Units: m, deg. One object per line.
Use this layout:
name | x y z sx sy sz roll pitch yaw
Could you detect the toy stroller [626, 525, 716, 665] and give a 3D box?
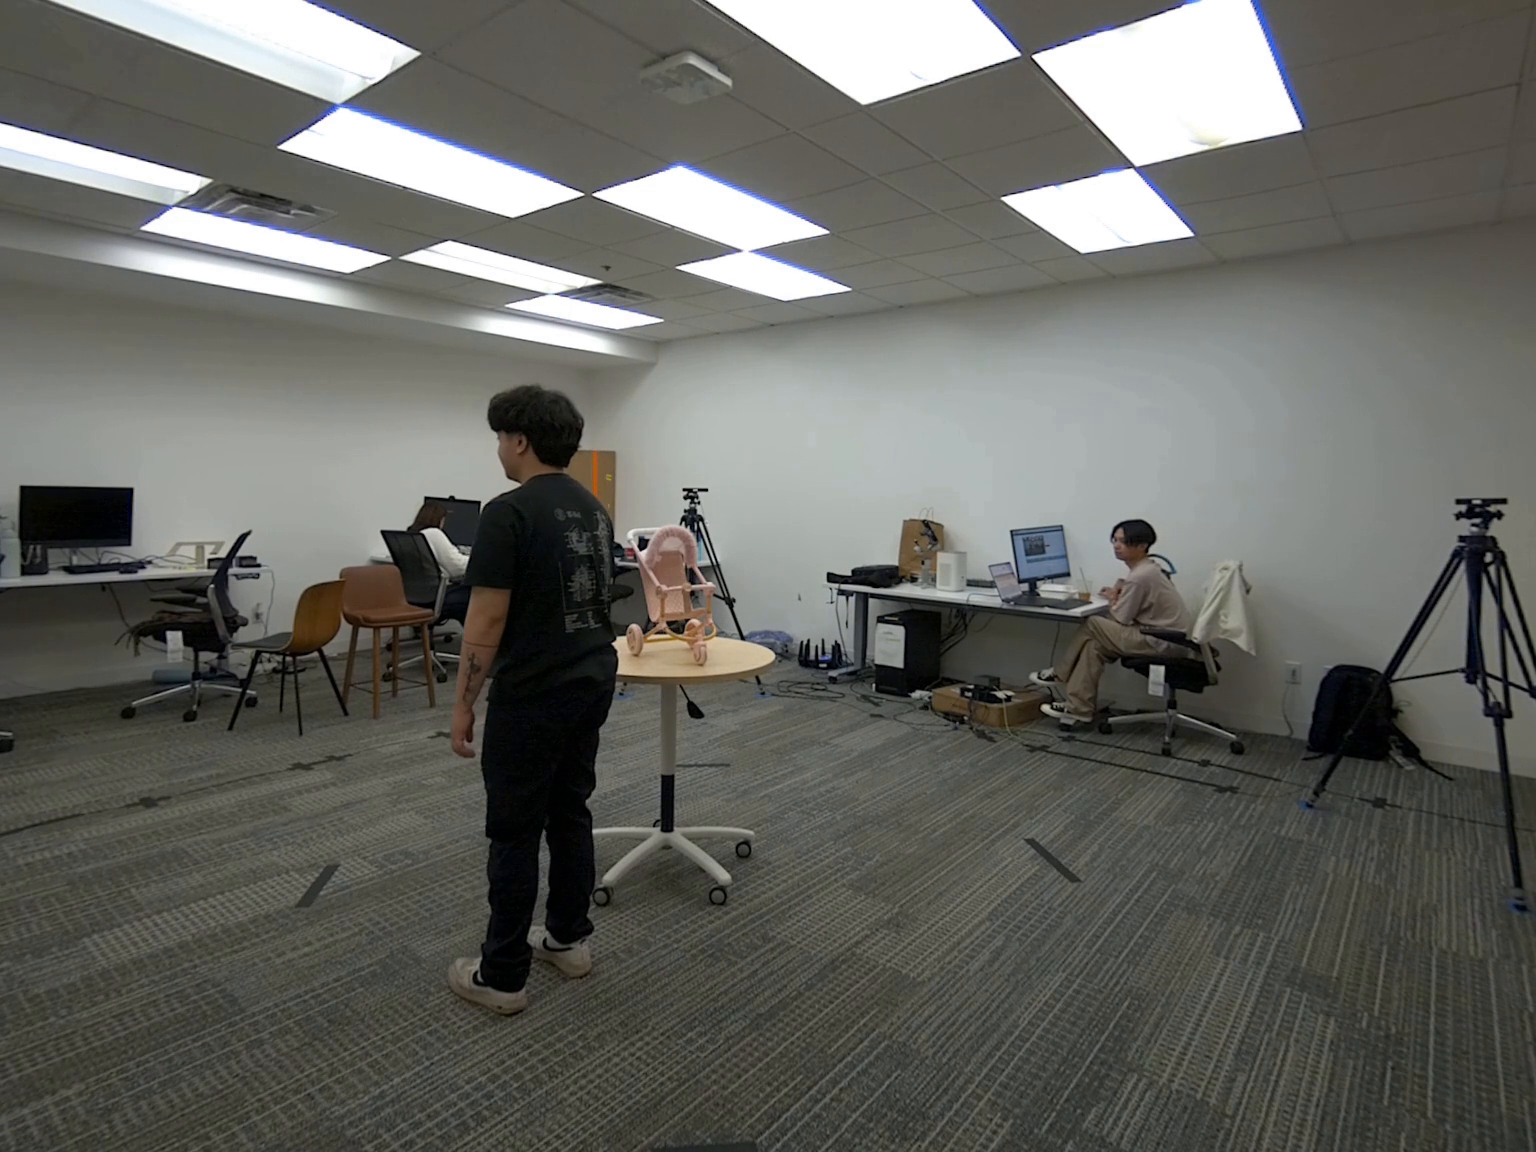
toy stroller | -0.344 0.054 3.027 0.274 0.540 0.347 -2 -9 -29
